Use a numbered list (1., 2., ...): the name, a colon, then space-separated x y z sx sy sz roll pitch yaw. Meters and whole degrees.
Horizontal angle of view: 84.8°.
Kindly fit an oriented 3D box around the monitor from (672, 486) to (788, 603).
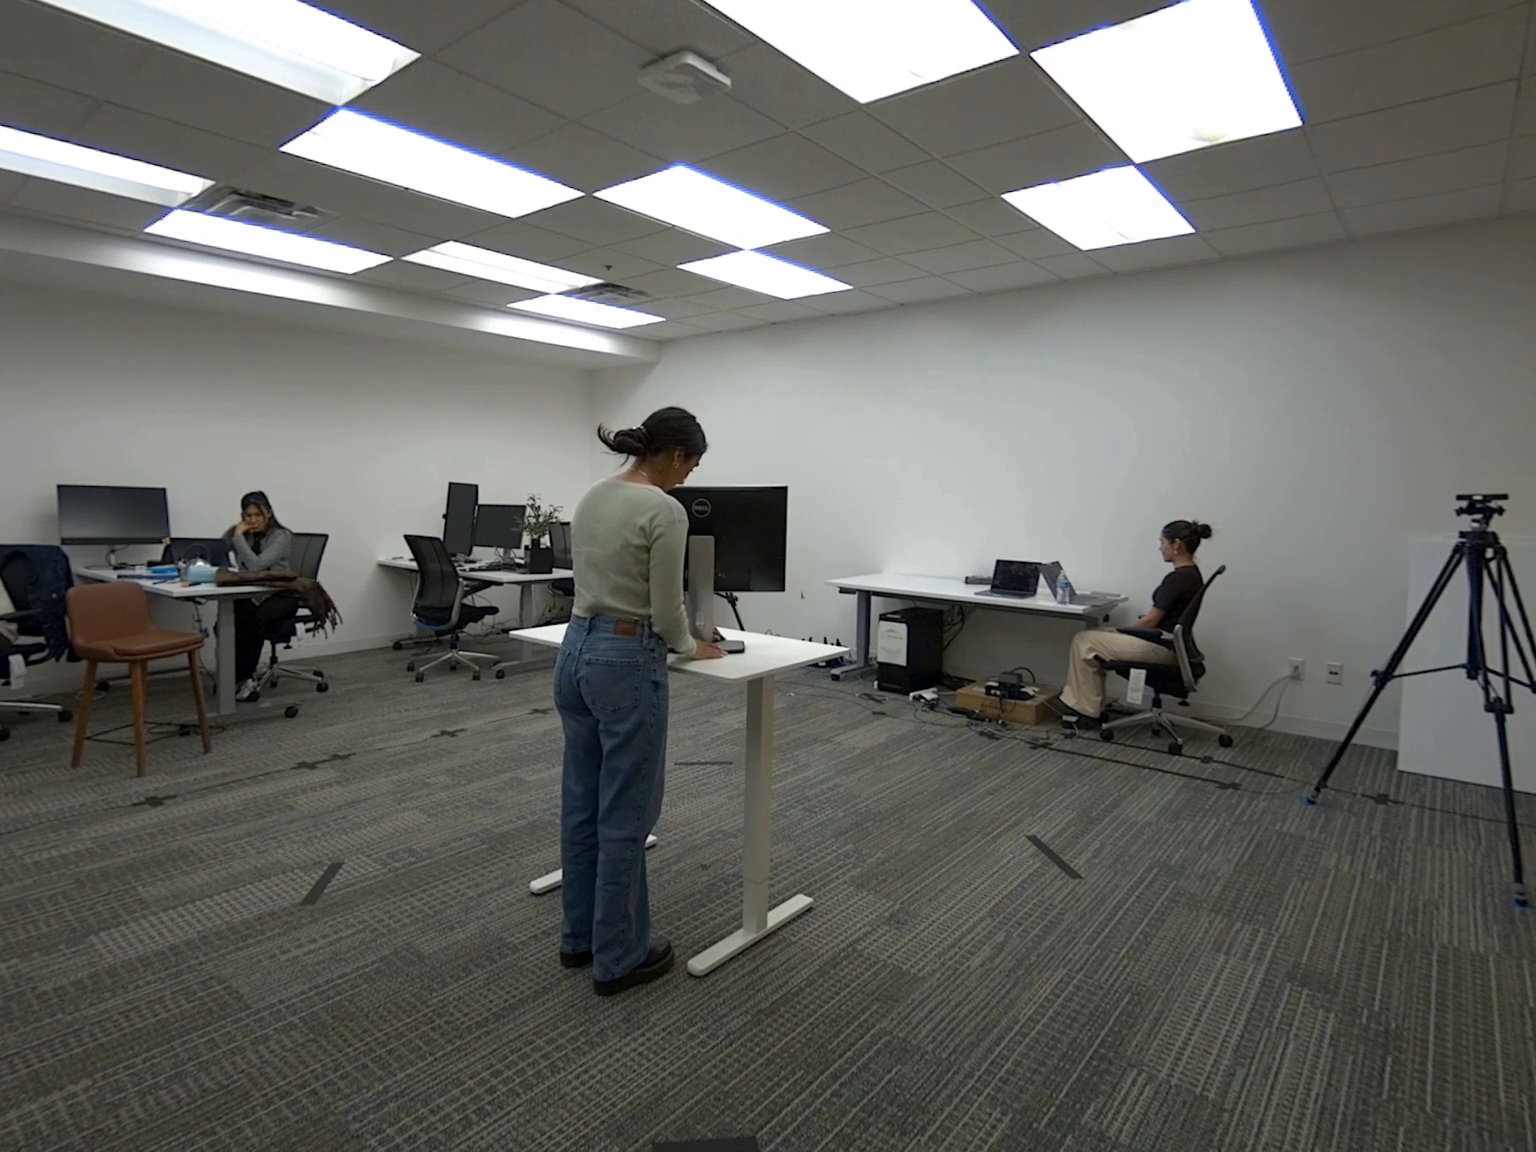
1. monitor: -0.210 -0.027 2.660 0.529 0.516 0.175 -1 1 -2
